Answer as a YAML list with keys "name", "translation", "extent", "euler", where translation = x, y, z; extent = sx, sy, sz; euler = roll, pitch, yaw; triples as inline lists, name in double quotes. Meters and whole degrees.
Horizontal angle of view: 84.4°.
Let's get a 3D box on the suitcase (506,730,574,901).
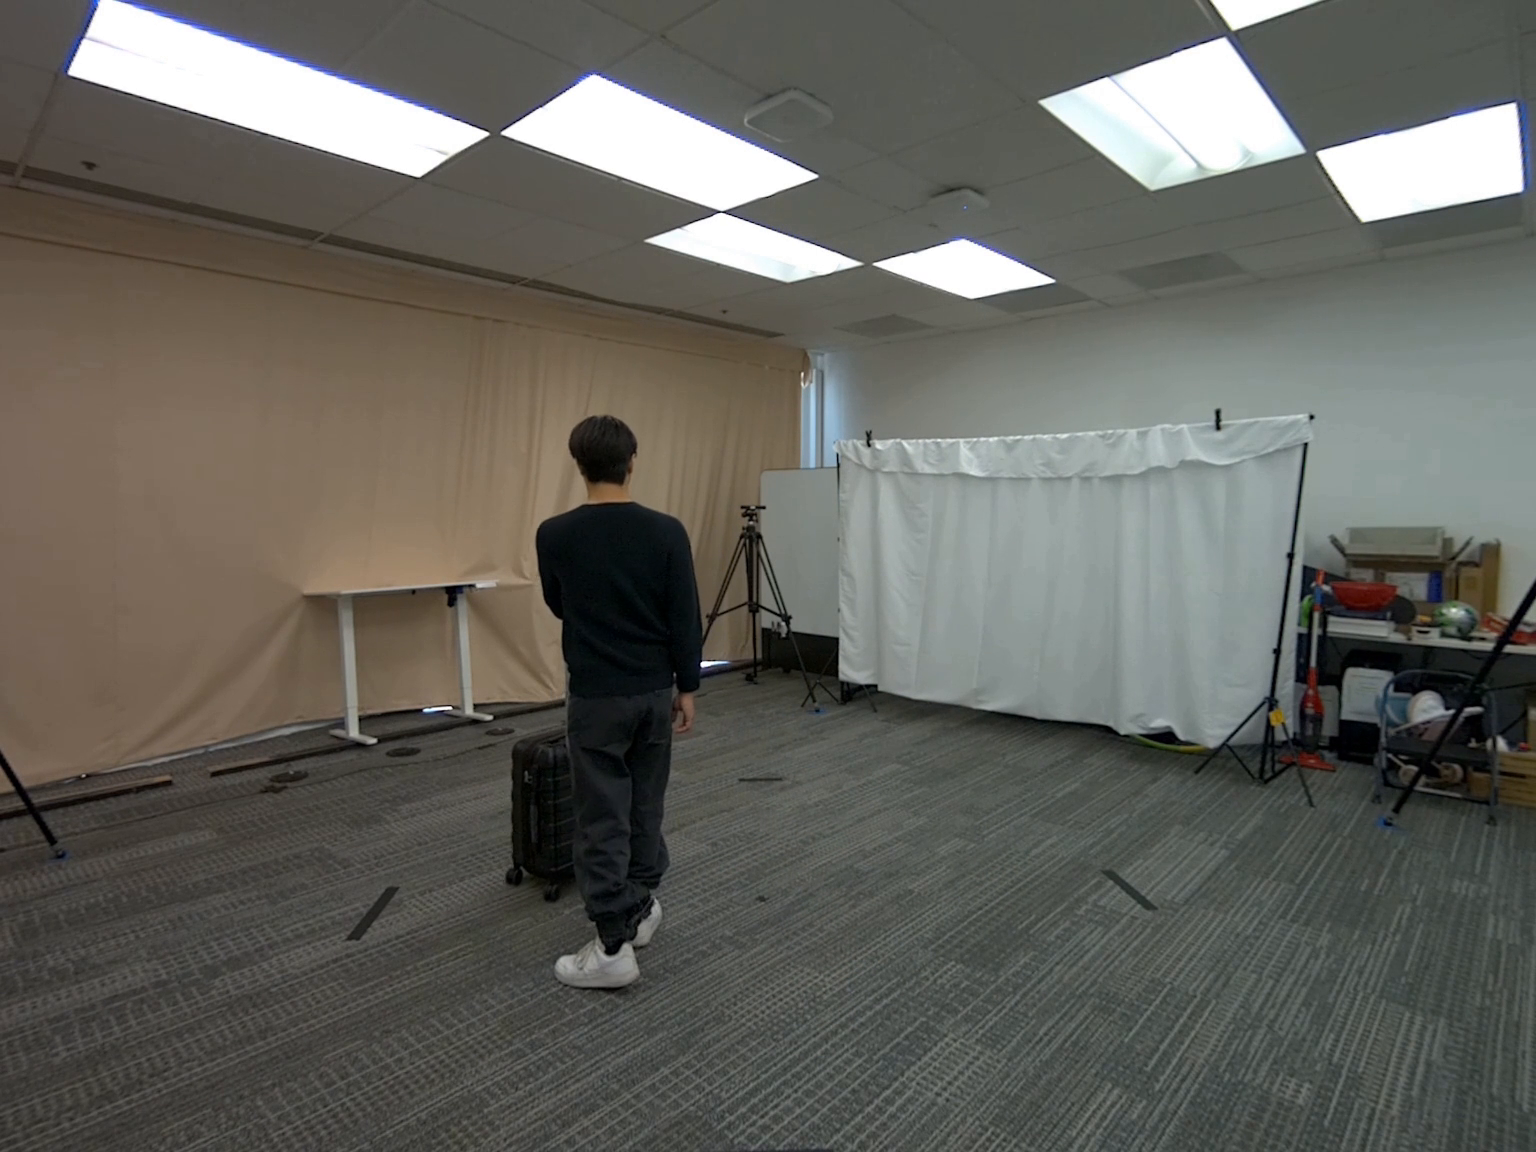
- name: "suitcase"
  translation: [-0.779, 0.660, 3.175]
  extent: [0.265, 0.978, 0.372]
  euler: [-1, 0, 38]
